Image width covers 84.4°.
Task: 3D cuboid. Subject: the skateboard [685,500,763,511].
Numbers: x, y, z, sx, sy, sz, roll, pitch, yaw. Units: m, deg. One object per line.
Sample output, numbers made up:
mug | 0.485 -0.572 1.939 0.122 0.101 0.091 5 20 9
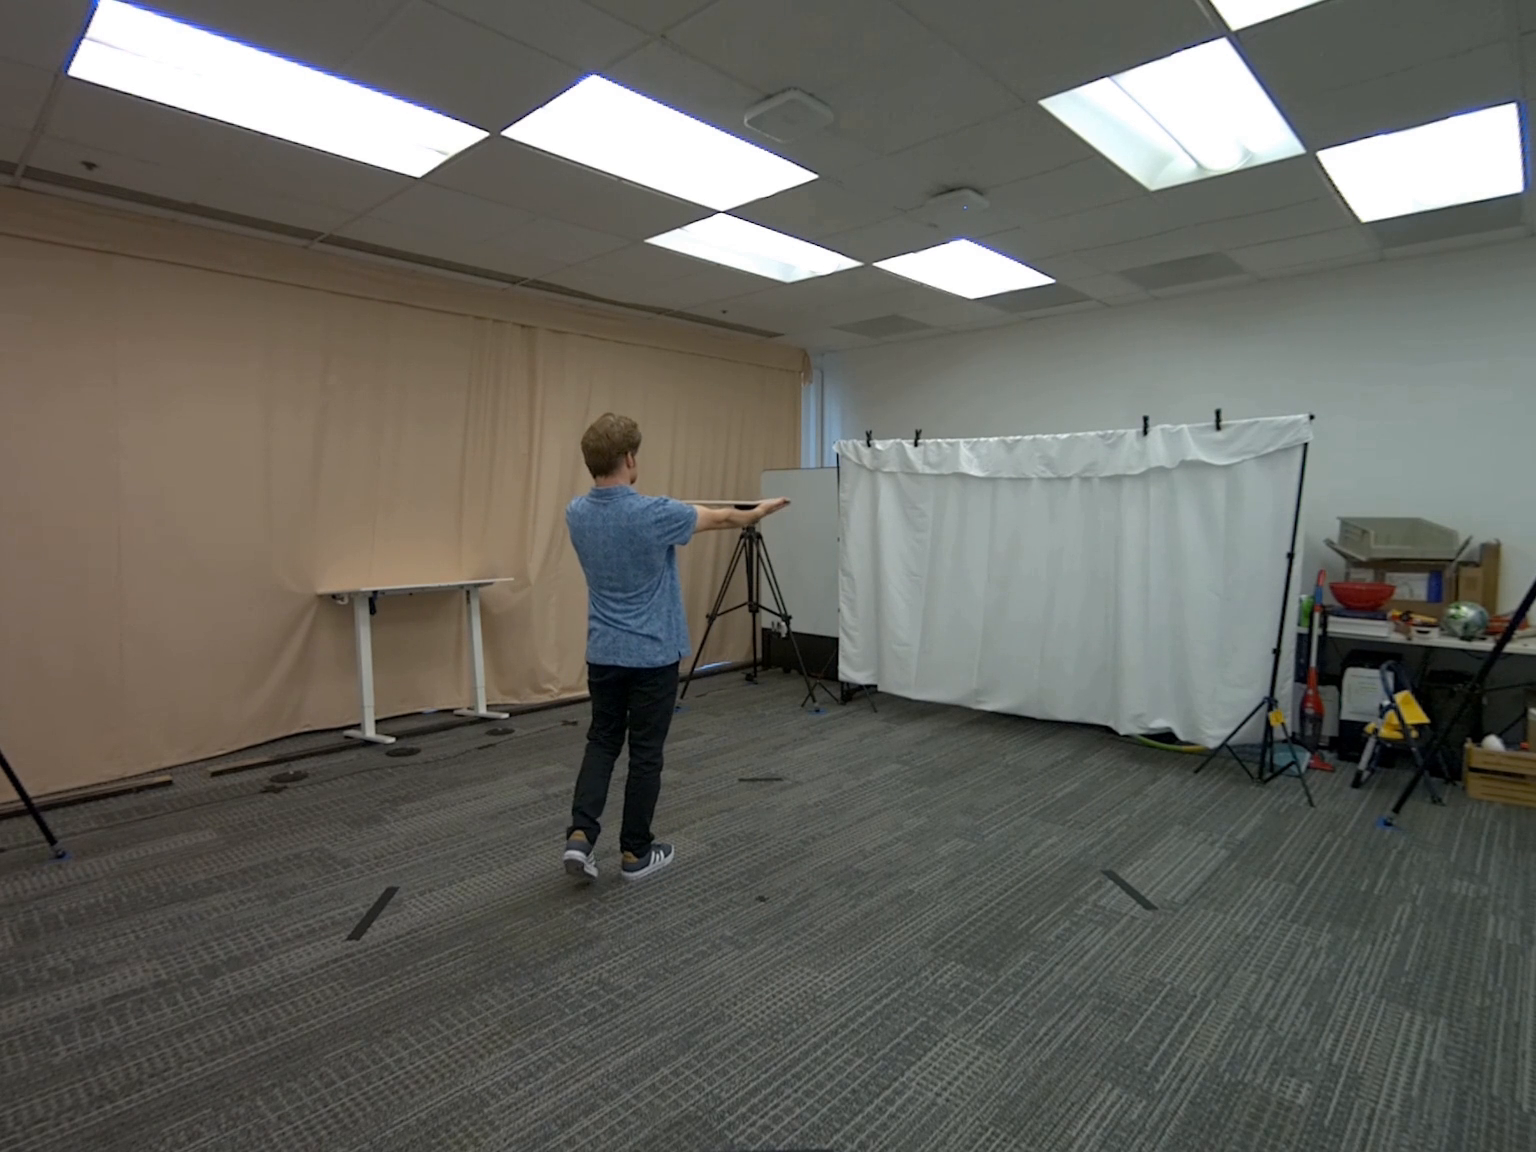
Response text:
skateboard | -0.283 -0.280 3.630 0.805 0.110 0.189 3 3 25
